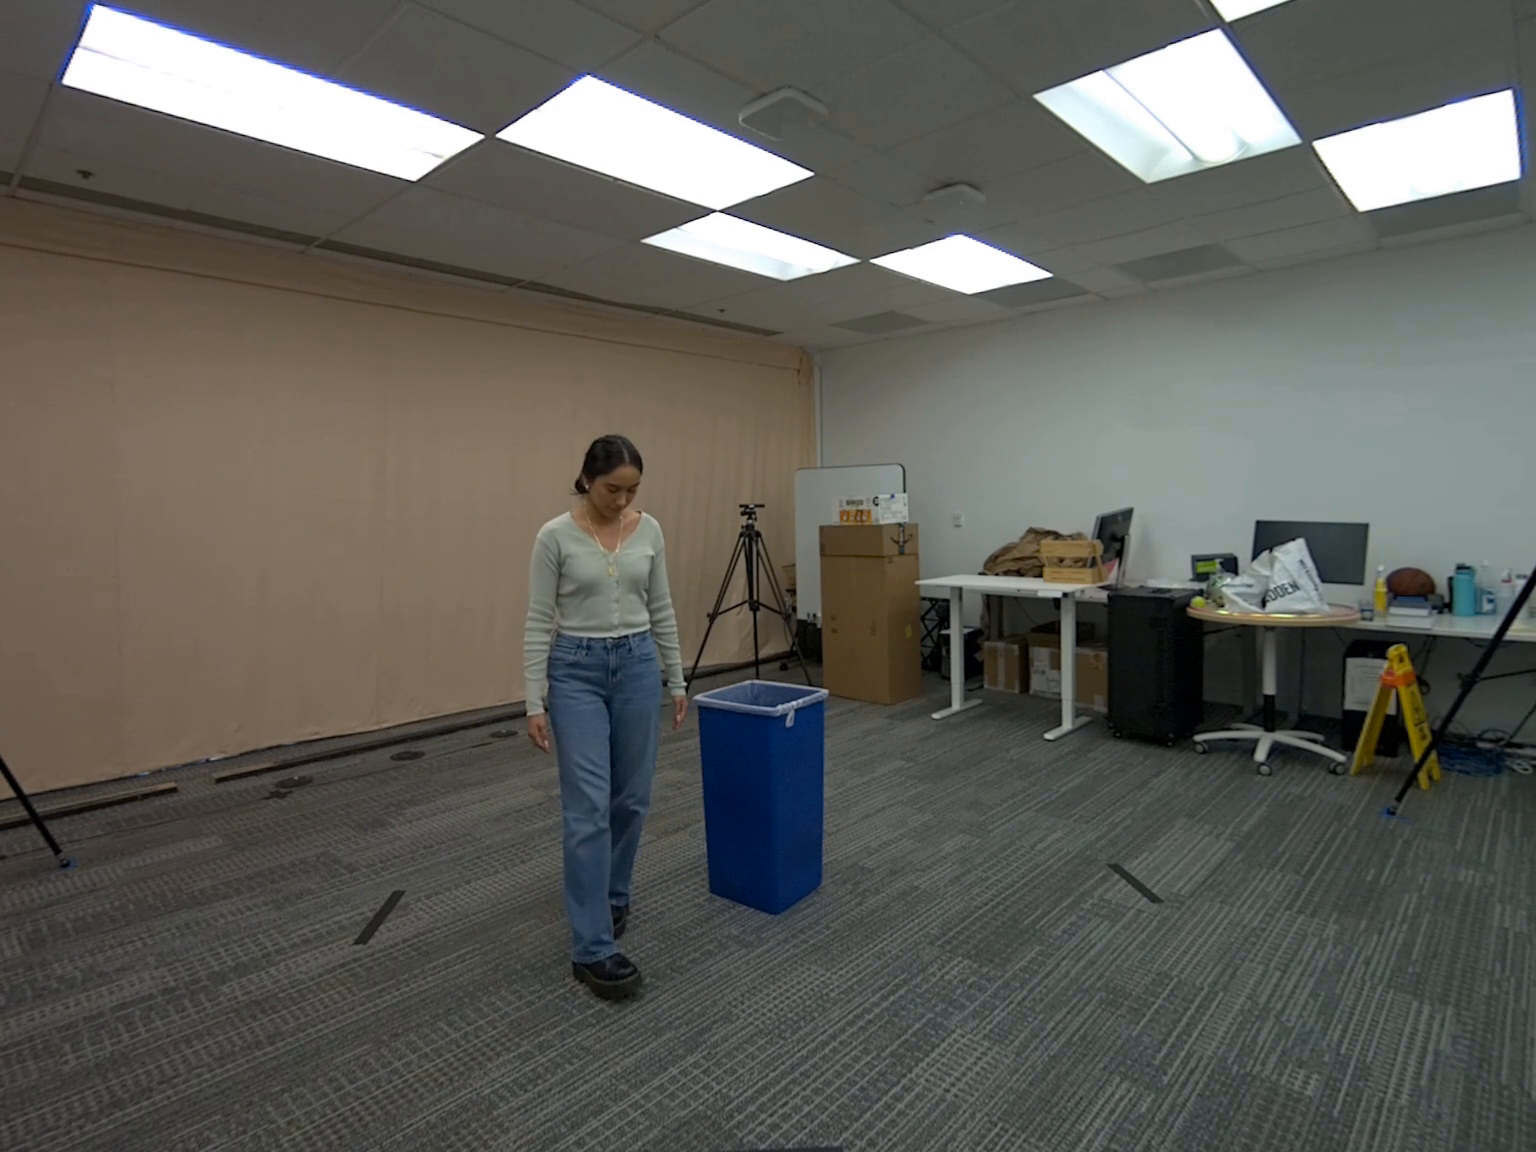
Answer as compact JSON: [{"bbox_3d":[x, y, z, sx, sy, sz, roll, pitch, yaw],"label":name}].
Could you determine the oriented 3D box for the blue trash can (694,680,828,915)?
[{"bbox_3d":[-0.017,0.775,3.037,0.386,0.712,0.367,2,4,37],"label":"blue trash can"}]
